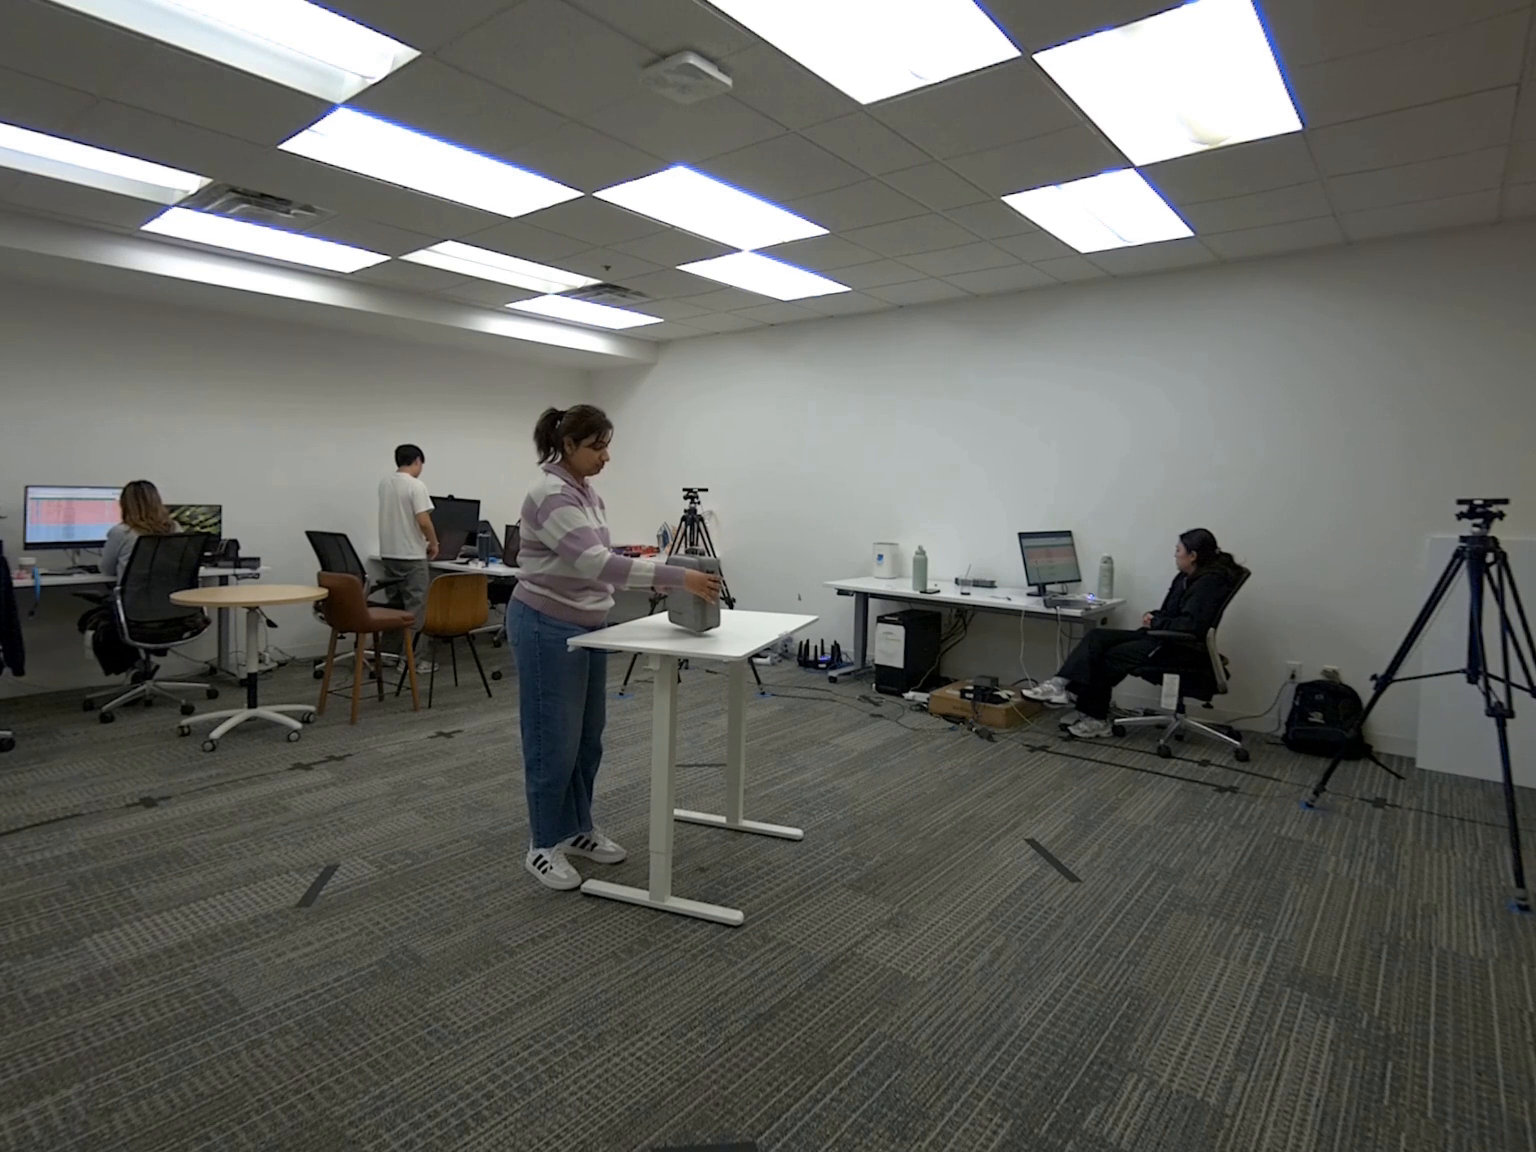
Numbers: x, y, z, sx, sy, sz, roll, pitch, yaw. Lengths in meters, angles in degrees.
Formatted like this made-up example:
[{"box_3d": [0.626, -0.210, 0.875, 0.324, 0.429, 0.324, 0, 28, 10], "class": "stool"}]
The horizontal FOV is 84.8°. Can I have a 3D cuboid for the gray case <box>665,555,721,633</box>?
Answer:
[{"box_3d": [-0.274, 0.048, 2.978, 0.102, 0.260, 0.264, 0, 3, -26], "class": "gray case"}]
